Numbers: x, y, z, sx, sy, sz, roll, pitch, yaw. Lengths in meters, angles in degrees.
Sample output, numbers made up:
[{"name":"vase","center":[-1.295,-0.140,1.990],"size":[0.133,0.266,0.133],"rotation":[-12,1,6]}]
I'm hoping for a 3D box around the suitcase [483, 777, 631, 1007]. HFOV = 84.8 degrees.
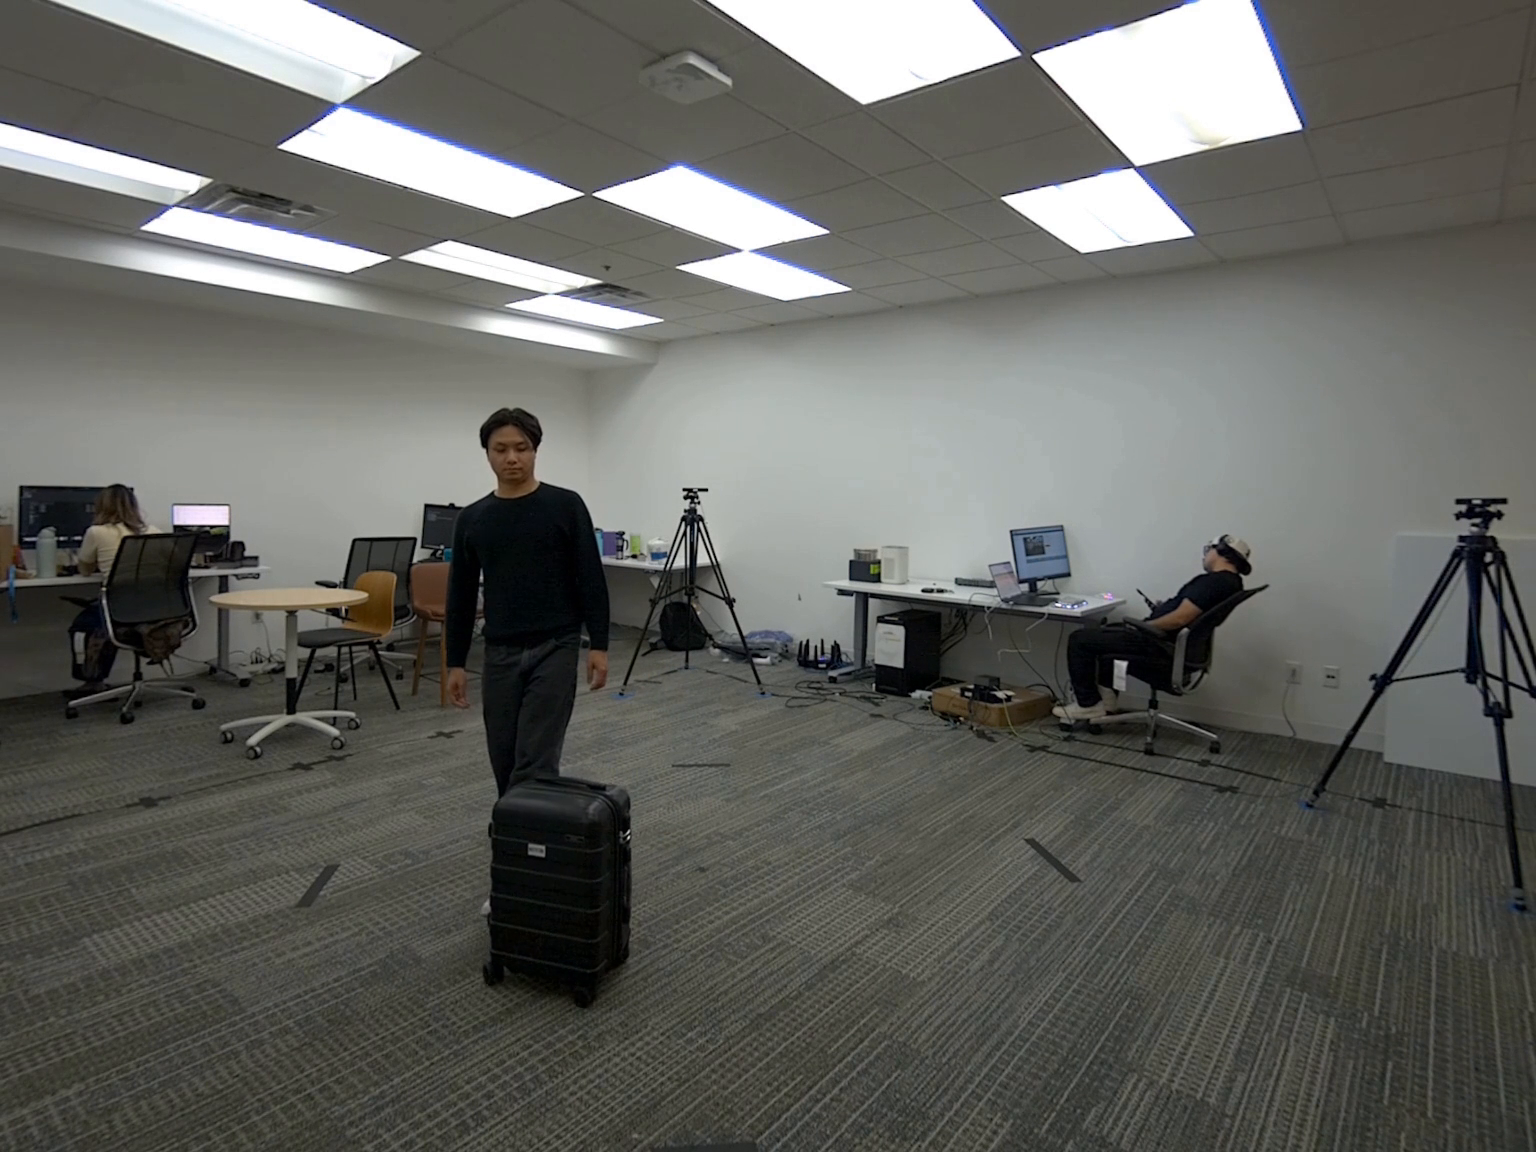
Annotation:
[{"name":"suitcase","center":[-0.586,0.859,2.403],"size":[0.383,0.547,0.244],"rotation":[4,5,18]}]
